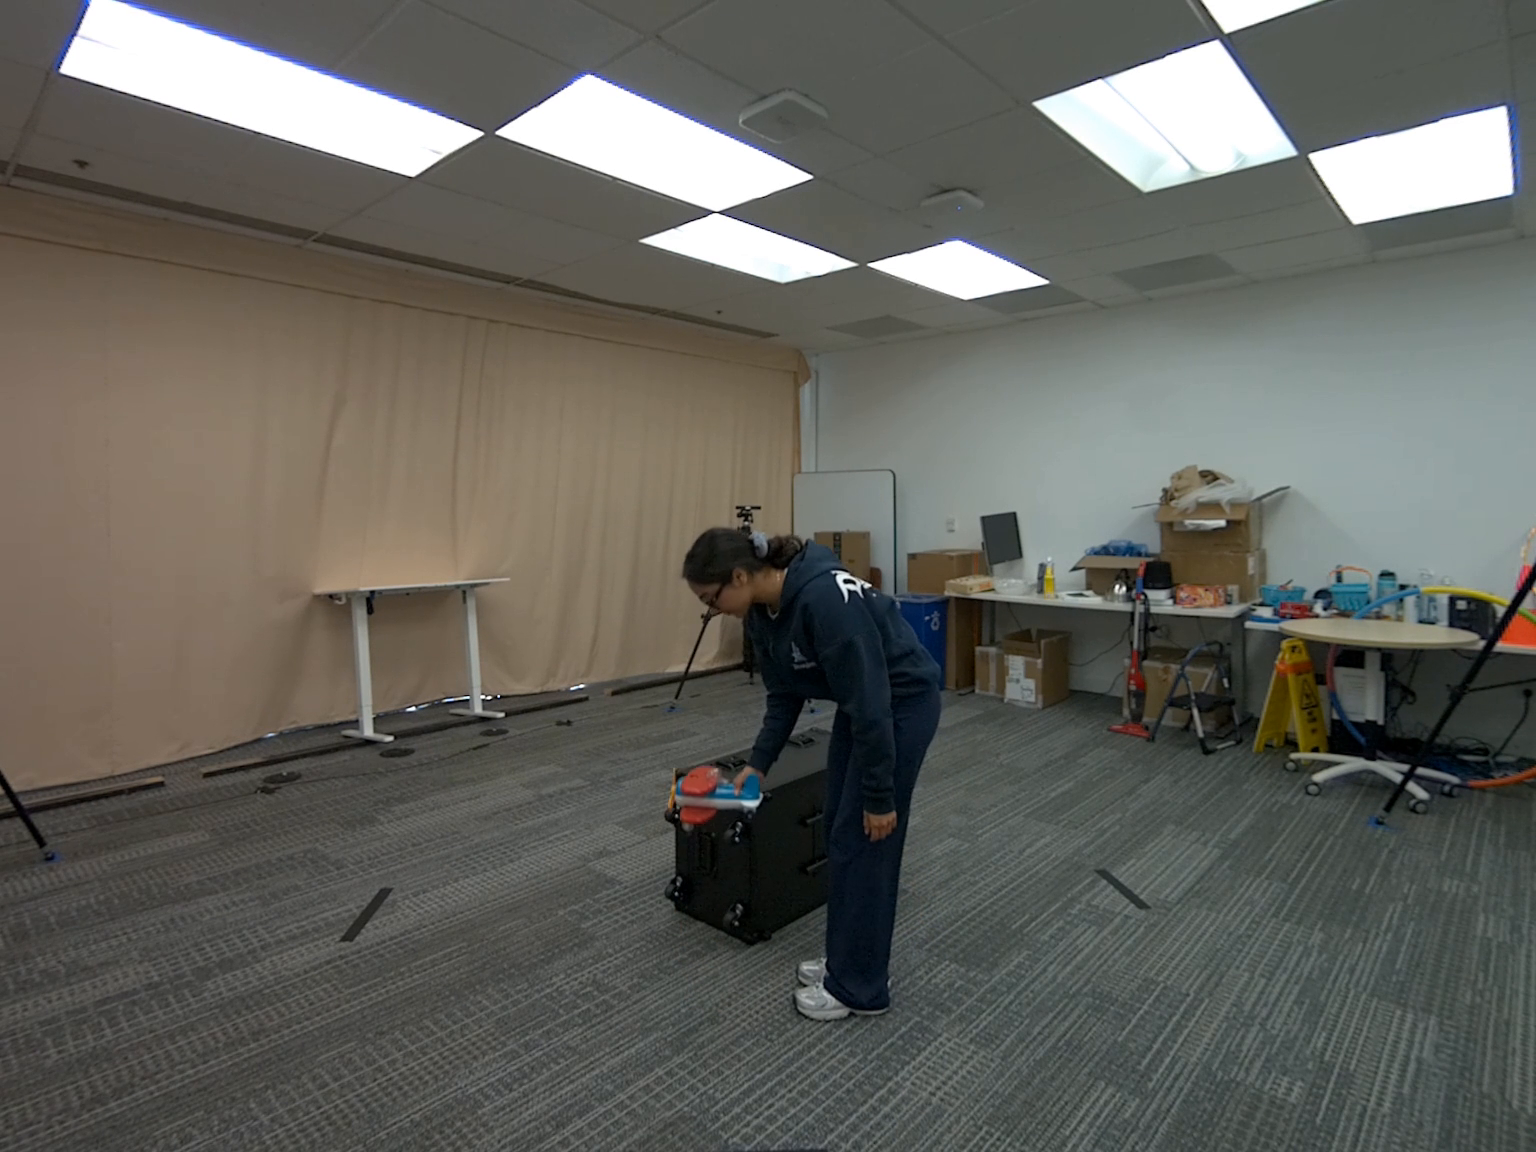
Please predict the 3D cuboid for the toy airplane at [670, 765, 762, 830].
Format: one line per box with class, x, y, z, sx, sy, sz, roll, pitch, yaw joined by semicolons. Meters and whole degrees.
toy airplane;-0.139;0.636;2.422;0.254;0.156;0.256;-14;1;-24
